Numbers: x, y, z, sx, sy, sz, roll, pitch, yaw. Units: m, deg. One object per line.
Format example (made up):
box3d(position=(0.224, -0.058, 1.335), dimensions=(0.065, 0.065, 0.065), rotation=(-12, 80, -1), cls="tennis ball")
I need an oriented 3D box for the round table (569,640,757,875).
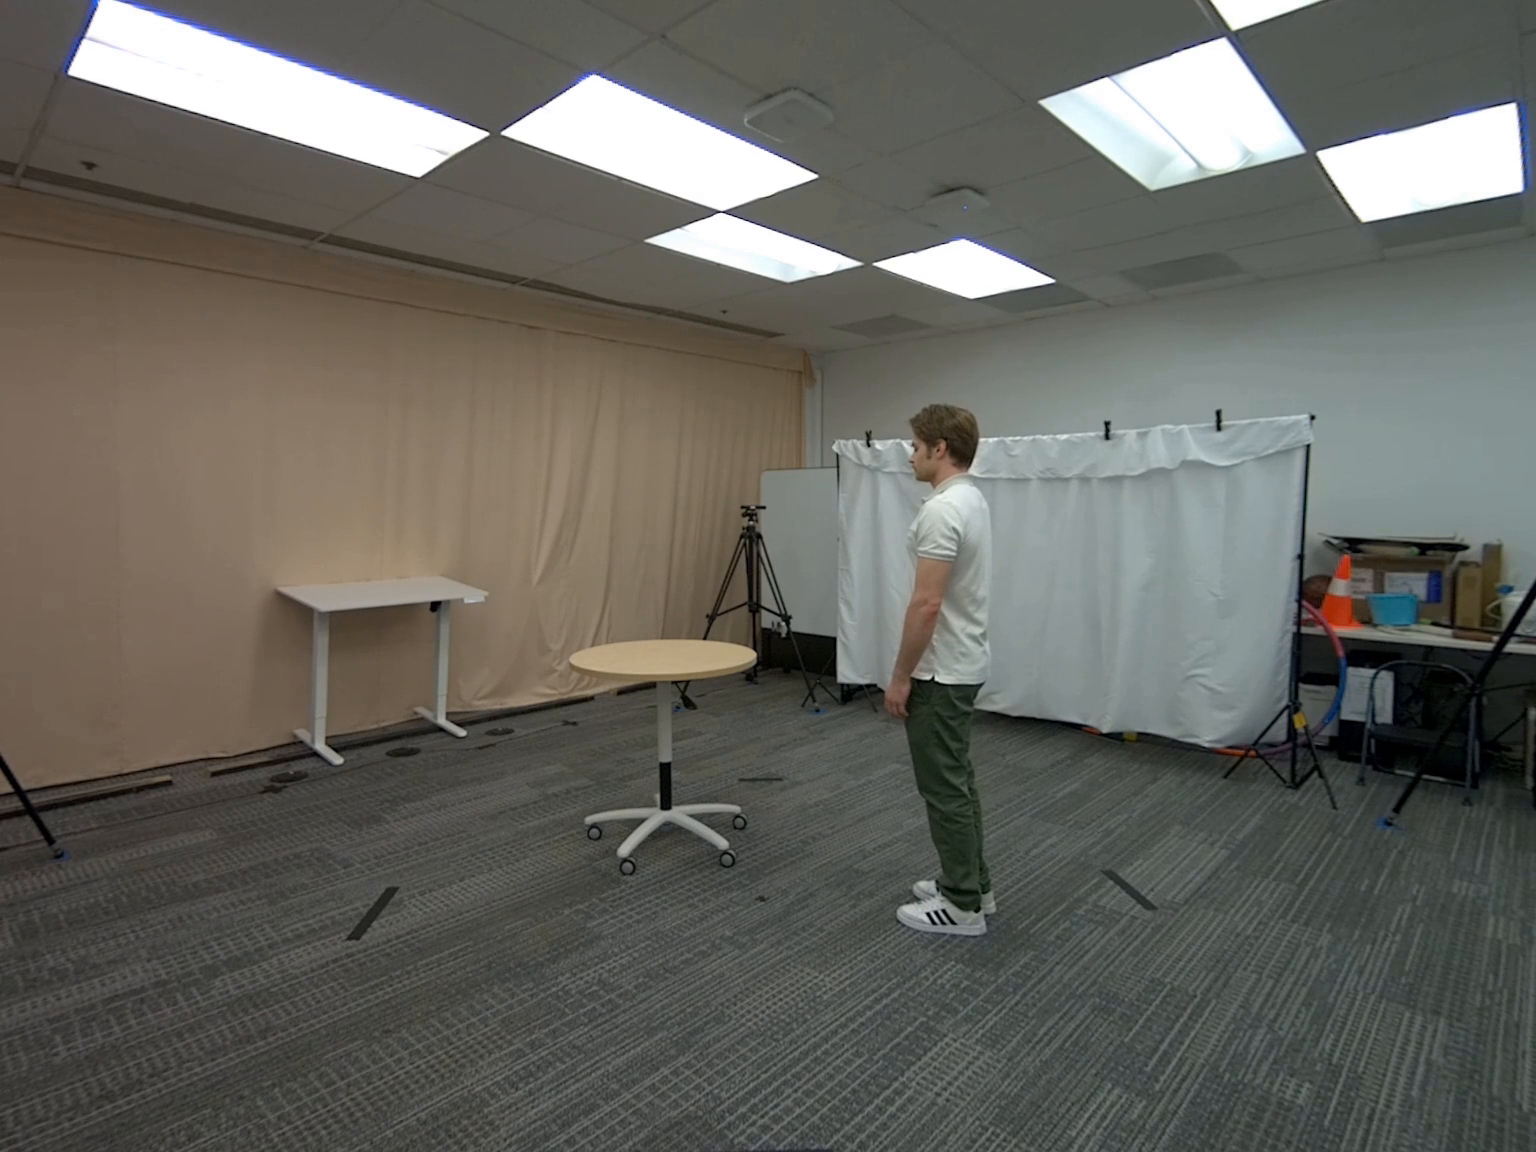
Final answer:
box3d(position=(-0.405, 0.712, 3.476), dimensions=(0.784, 0.784, 0.788), rotation=(-1, 4, -2), cls="round table")
